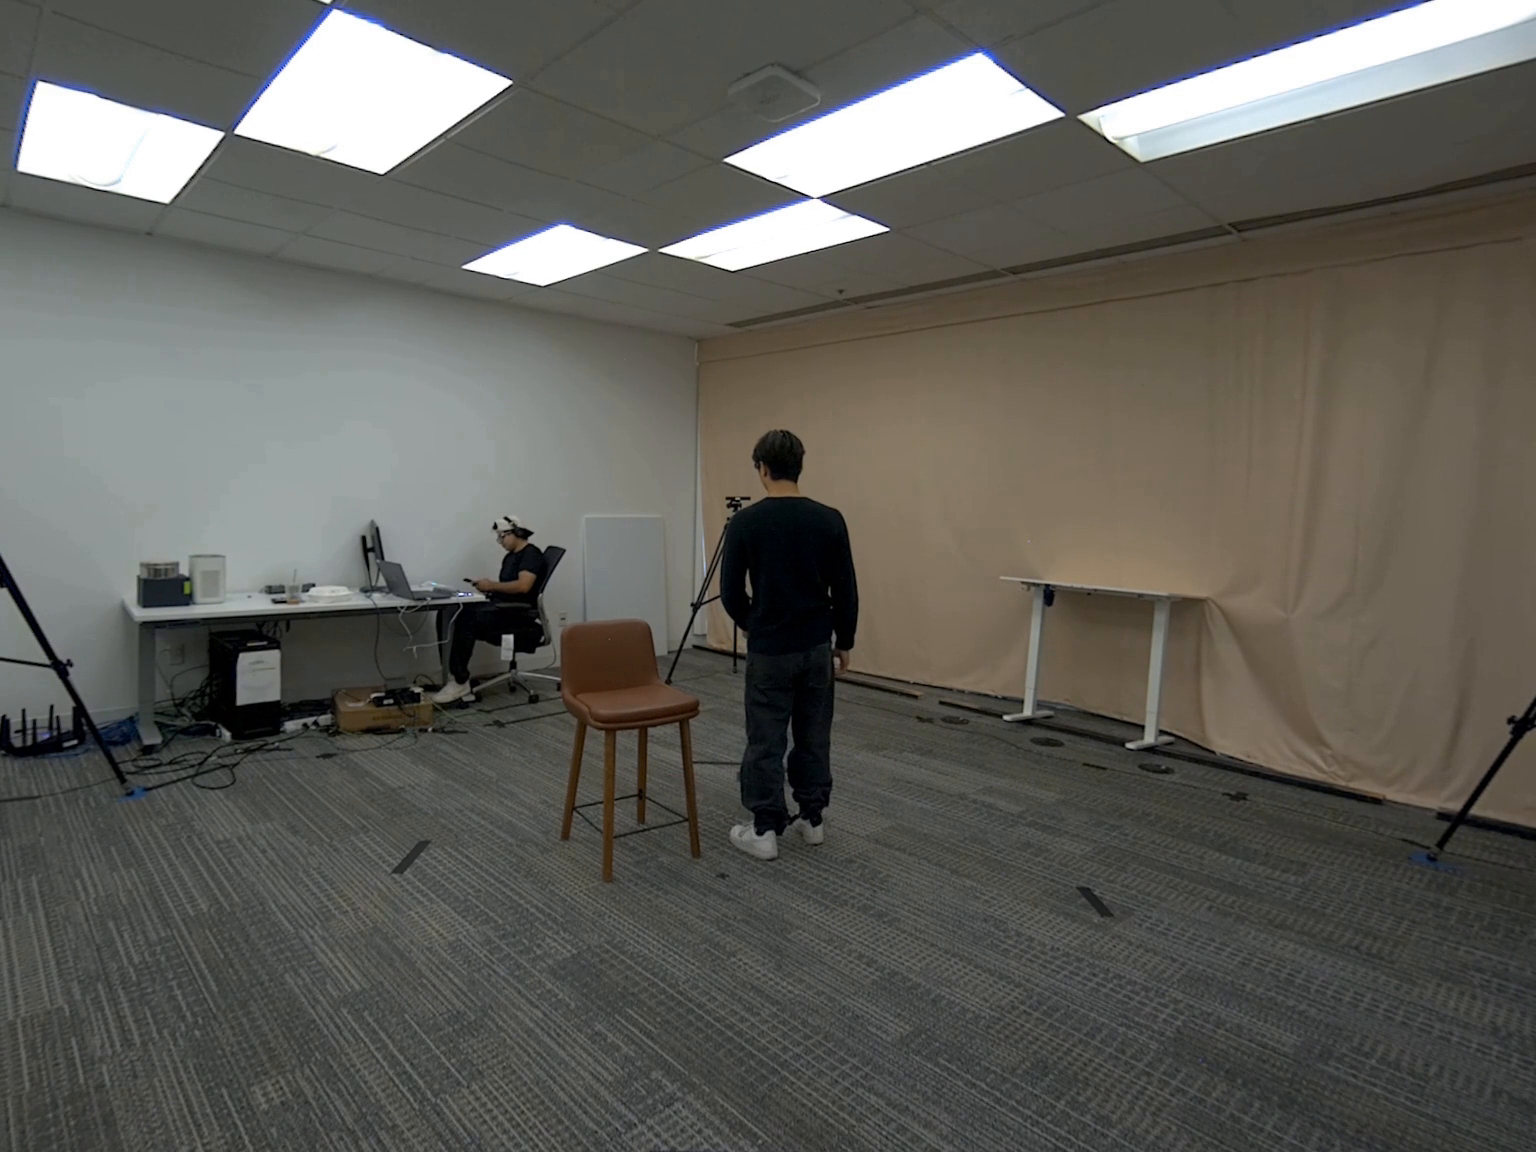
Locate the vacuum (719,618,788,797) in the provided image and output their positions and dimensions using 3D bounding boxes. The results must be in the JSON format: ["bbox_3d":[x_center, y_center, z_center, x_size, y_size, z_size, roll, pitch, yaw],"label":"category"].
[{"bbox_3d":[-0.056,0.607,3.835,0.252,1.026,0.148,-6,40,-5],"label":"vacuum"}]
